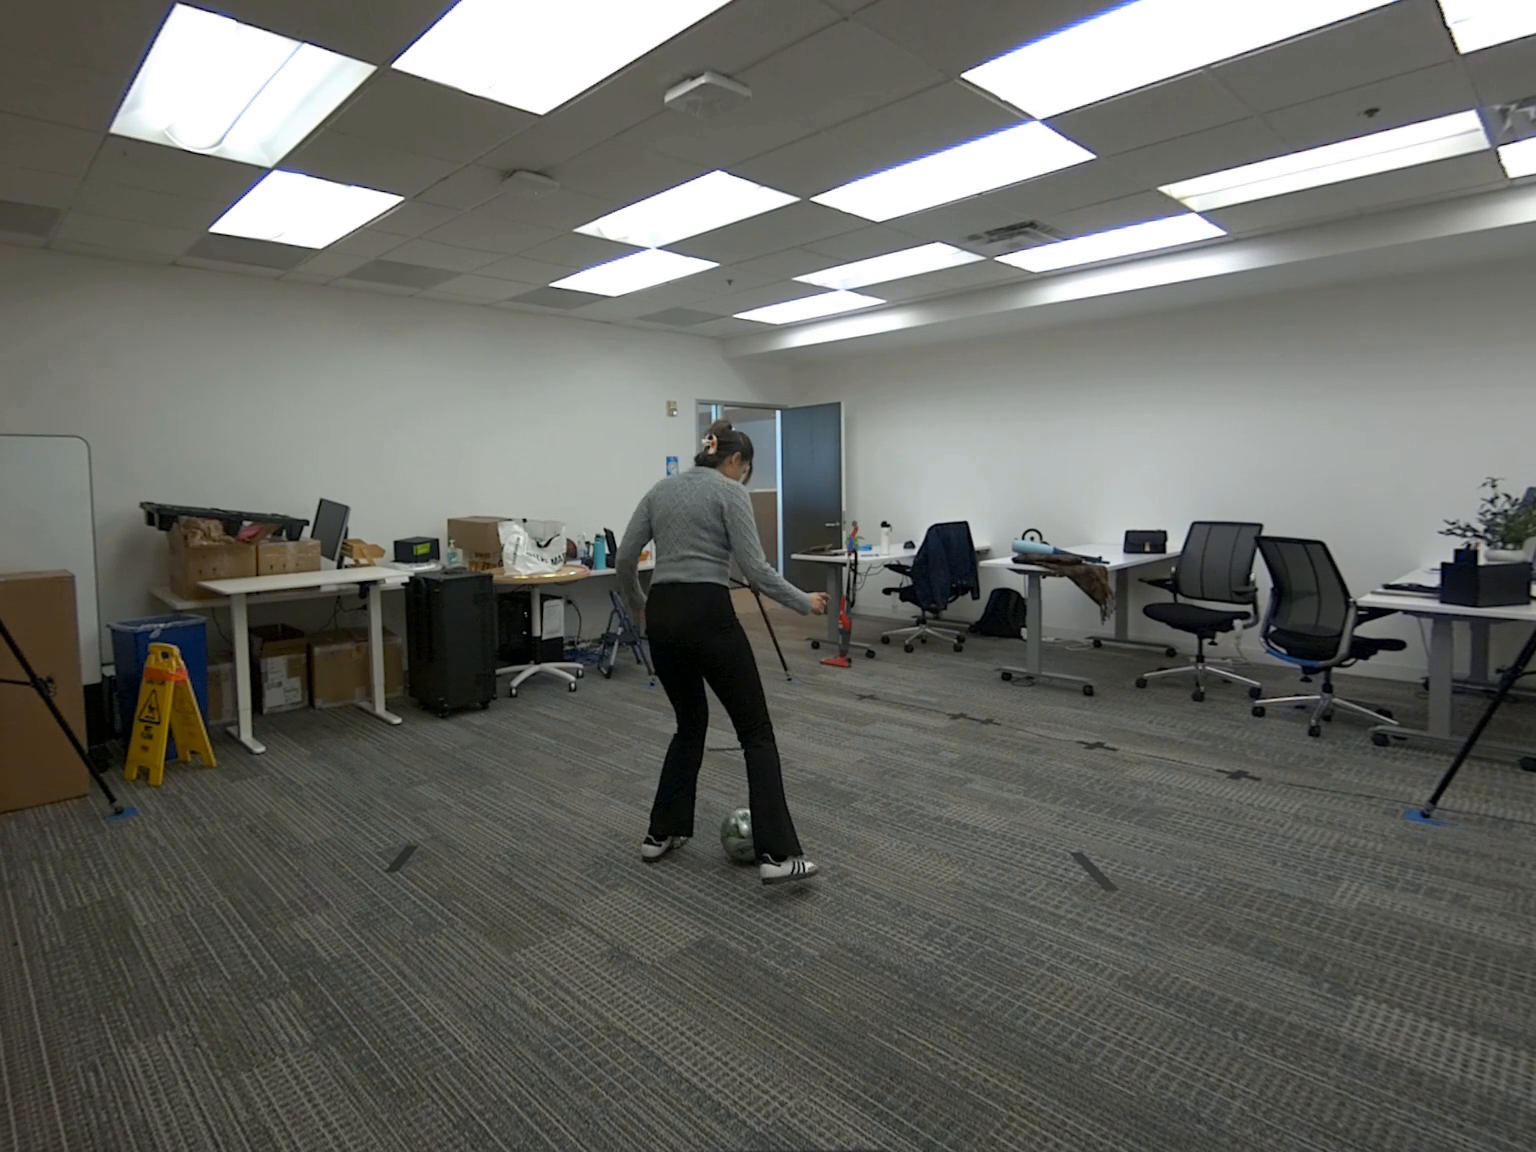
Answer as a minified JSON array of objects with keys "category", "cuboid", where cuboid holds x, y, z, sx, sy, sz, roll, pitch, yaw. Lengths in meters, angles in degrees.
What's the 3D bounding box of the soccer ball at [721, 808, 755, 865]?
[{"category":"soccer ball","cuboid":[-0.084,0.946,3.132,0.187,0.187,0.188,-1,5,-2]}]
